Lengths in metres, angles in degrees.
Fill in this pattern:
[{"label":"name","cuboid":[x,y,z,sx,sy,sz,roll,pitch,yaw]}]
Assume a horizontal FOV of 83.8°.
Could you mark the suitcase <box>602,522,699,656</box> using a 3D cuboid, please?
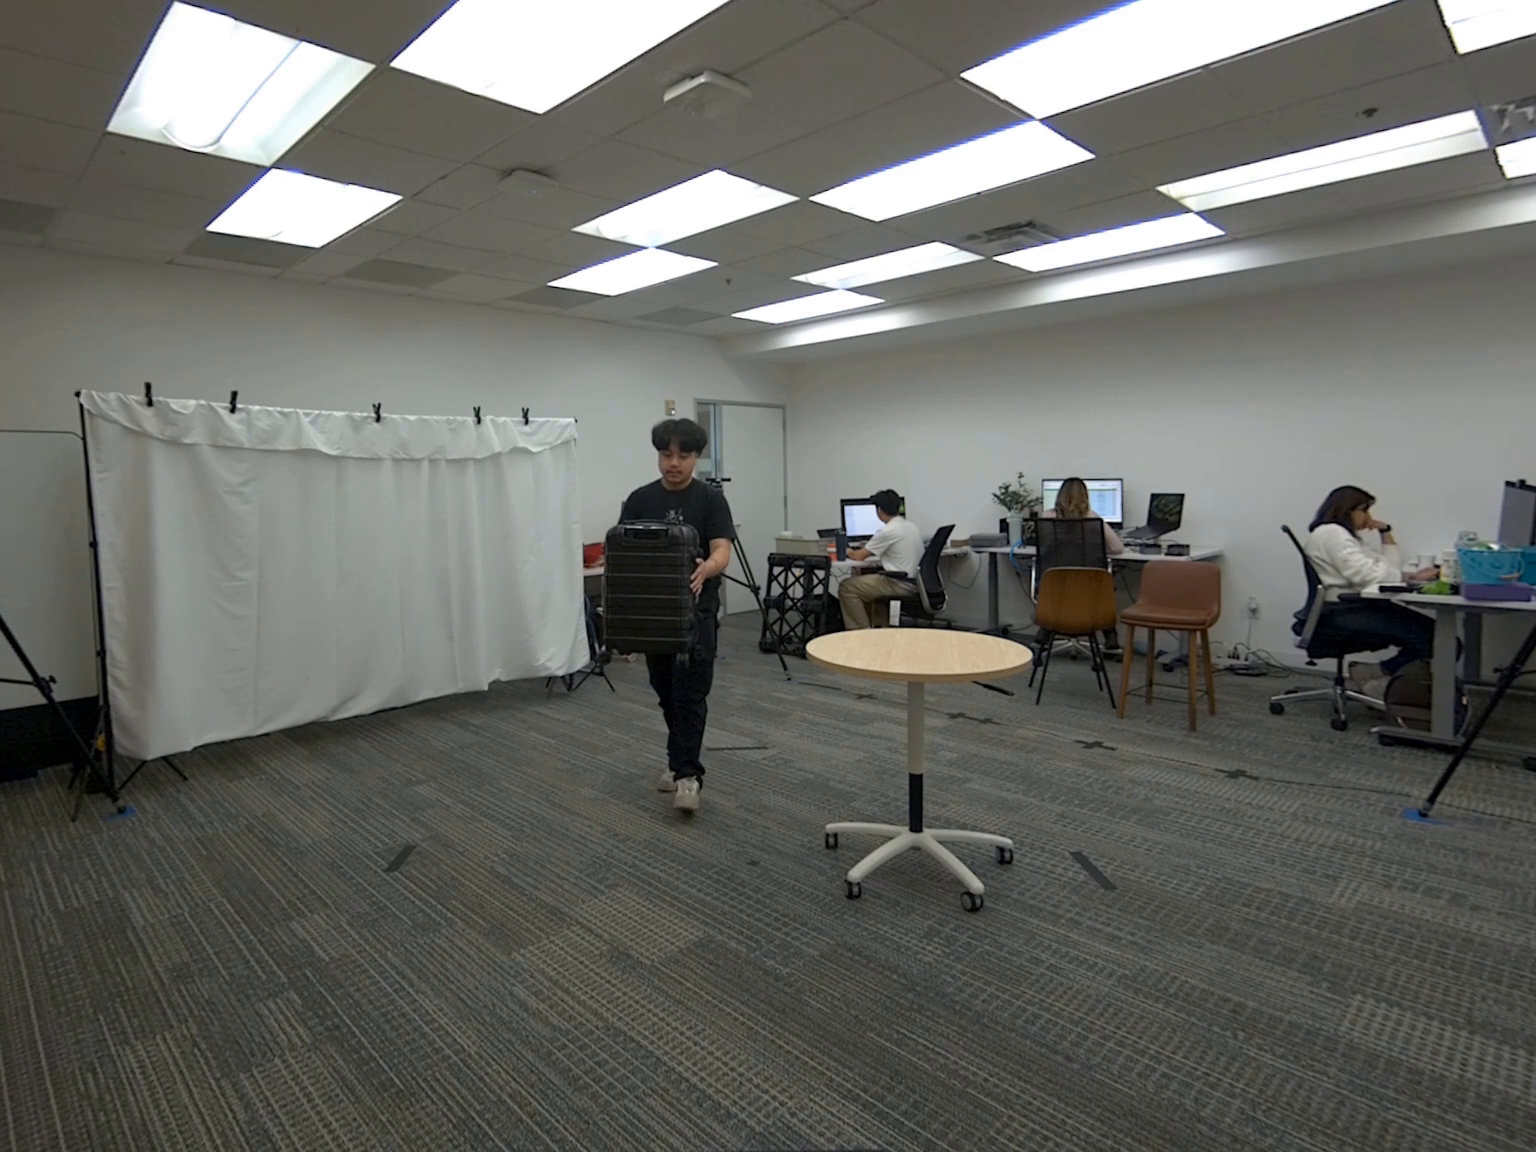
[{"label":"suitcase","cuboid":[-0.459,0.057,3.369,0.380,0.549,0.246,0,2,11]}]
